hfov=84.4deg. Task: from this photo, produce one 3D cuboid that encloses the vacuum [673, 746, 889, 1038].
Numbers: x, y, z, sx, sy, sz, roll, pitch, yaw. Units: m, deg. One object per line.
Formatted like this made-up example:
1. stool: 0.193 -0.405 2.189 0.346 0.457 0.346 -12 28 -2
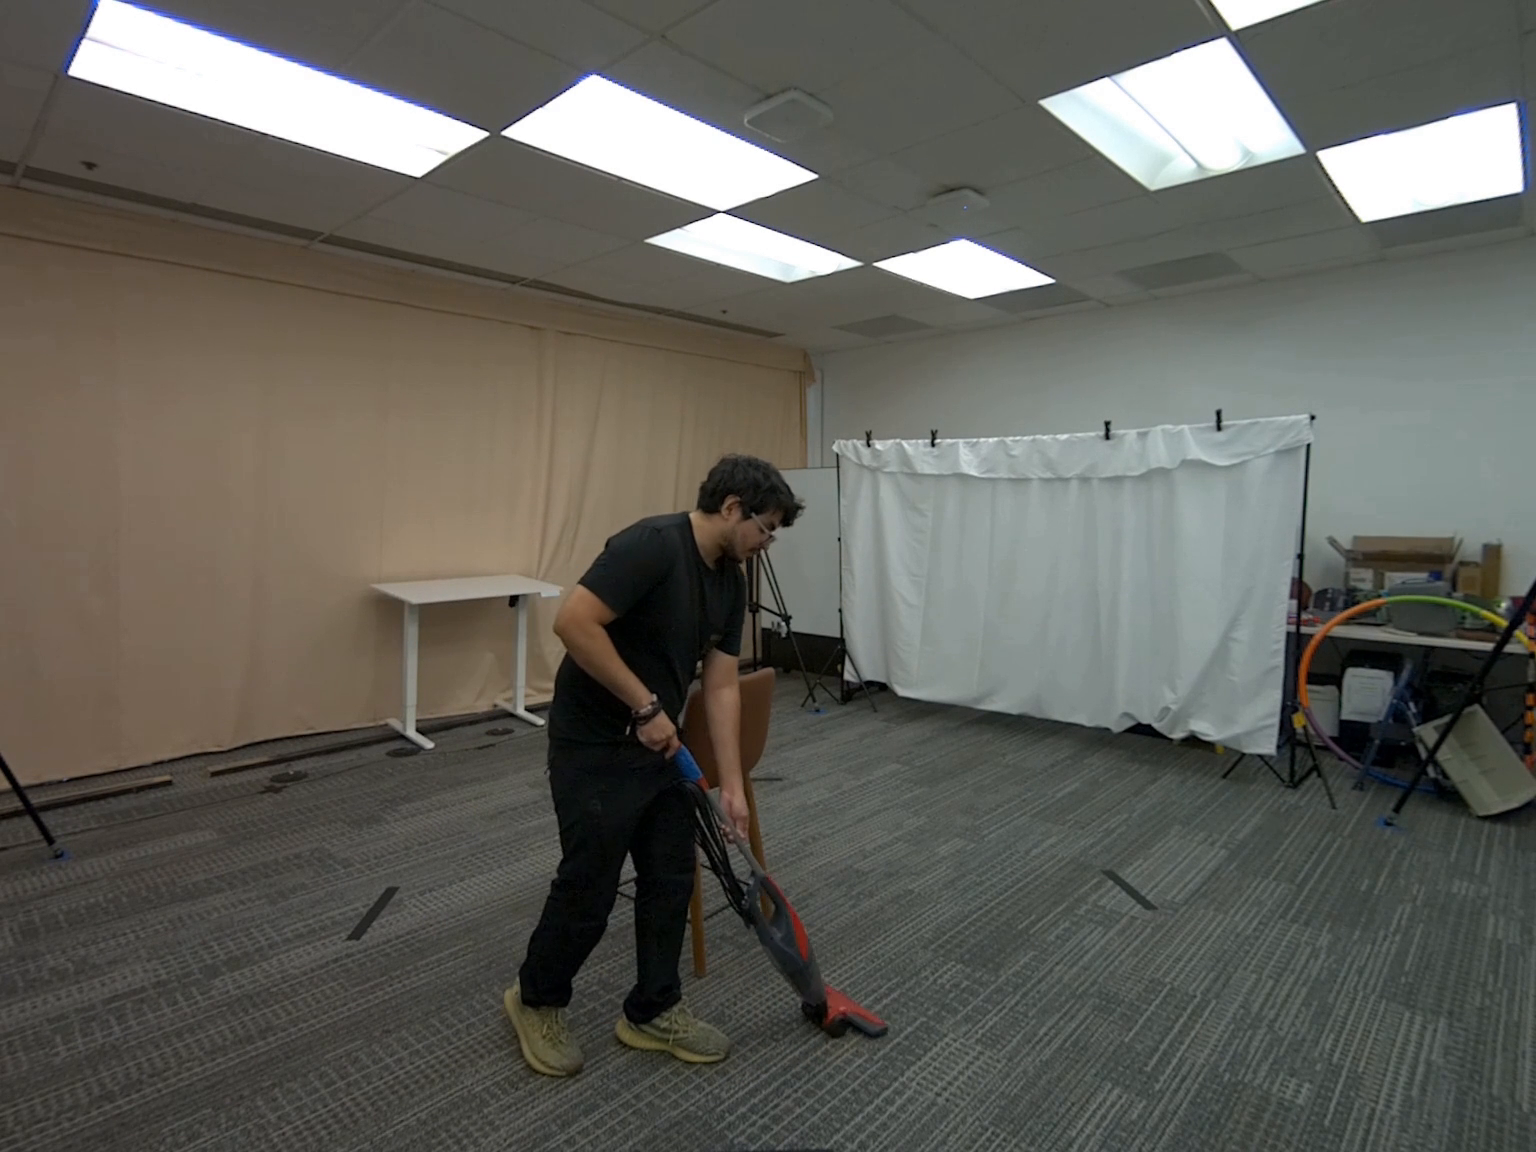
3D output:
1. vacuum: -0.020 0.781 2.098 0.142 1.028 0.261 -40 25 -32
